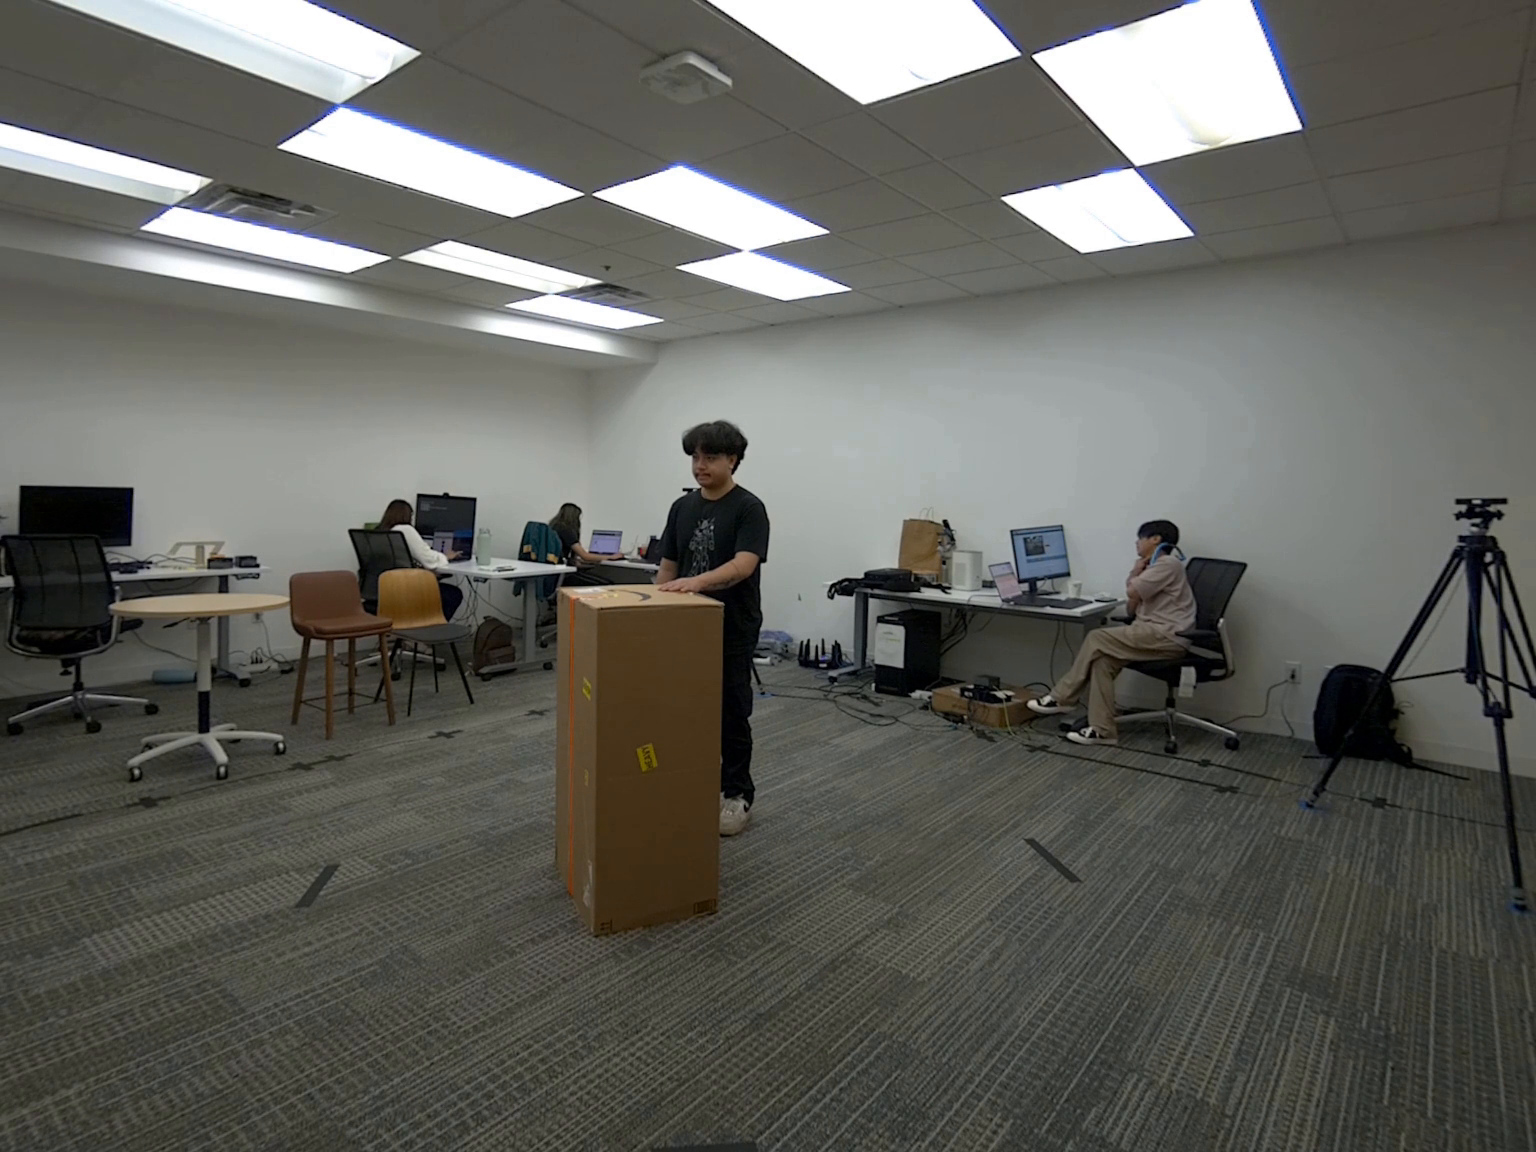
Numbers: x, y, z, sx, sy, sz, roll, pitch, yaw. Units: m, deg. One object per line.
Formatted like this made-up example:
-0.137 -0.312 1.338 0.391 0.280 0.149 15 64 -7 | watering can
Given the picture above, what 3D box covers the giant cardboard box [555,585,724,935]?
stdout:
-0.478 0.569 2.940 0.436 1.024 0.599 -1 4 -25 | giant cardboard box
